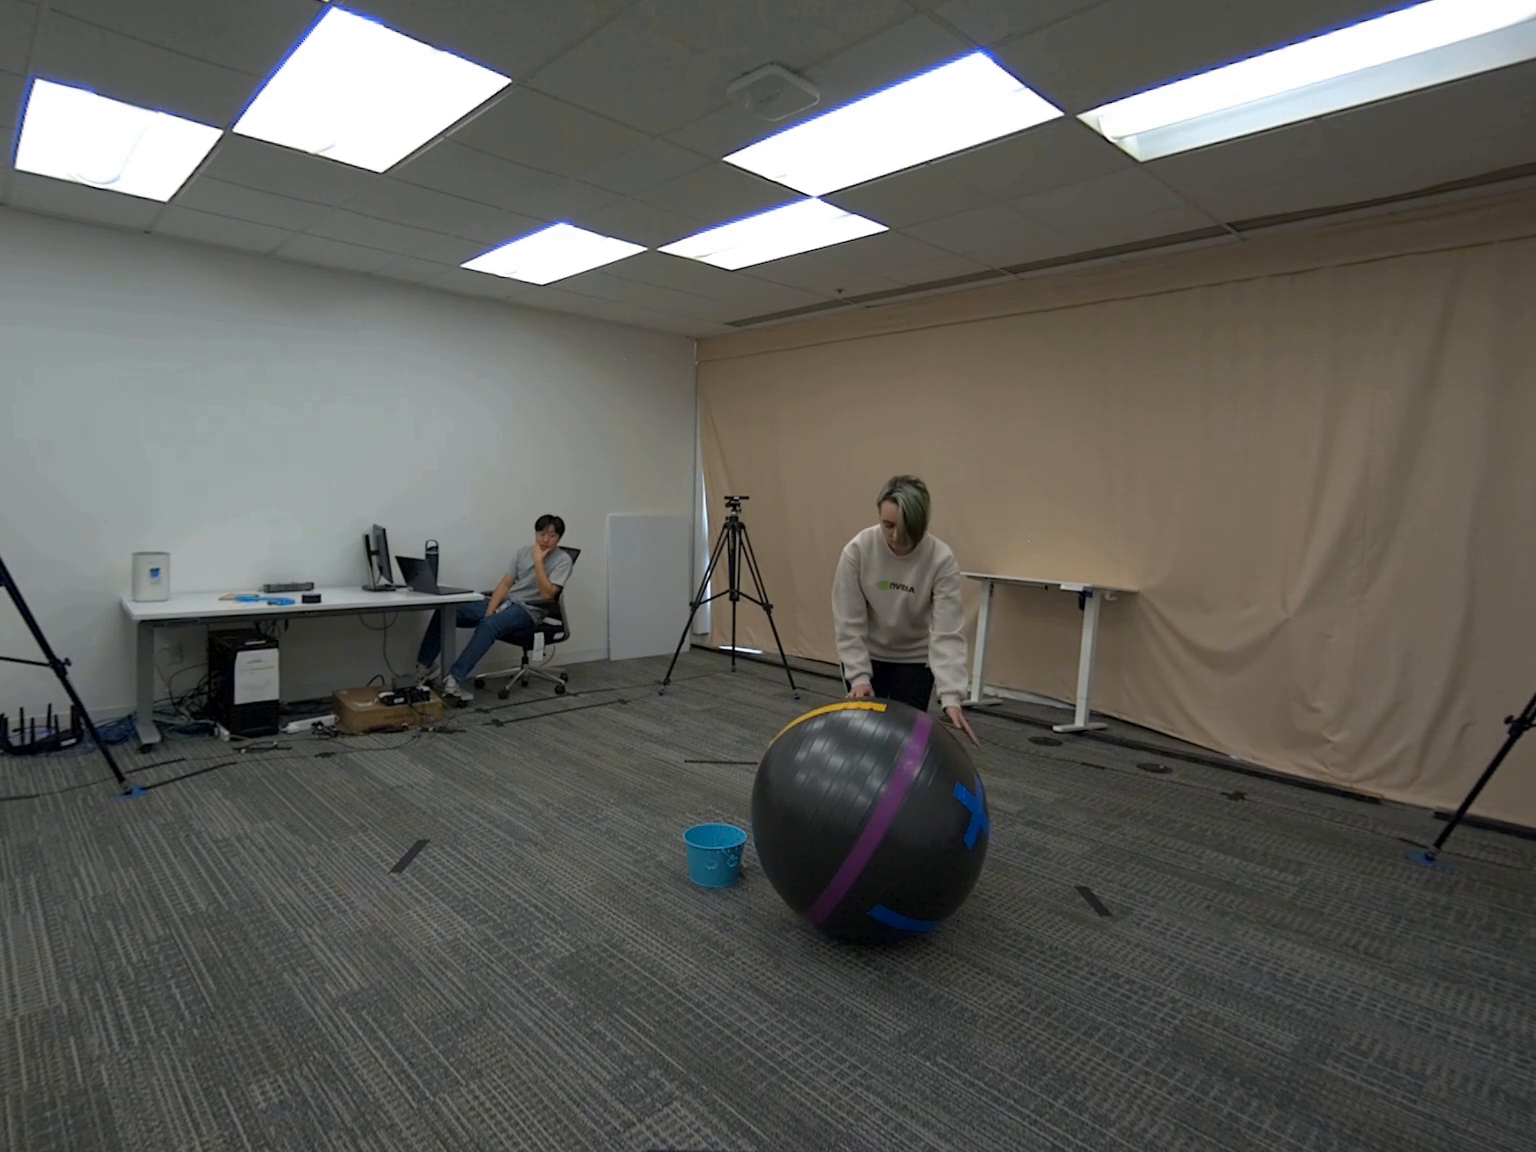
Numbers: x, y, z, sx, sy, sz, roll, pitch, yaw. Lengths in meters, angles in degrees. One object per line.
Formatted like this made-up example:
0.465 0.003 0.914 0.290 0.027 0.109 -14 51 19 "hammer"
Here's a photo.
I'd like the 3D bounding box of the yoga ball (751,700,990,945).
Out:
0.320 0.782 2.725 0.757 0.756 0.761 1 4 -1 "yoga ball"
